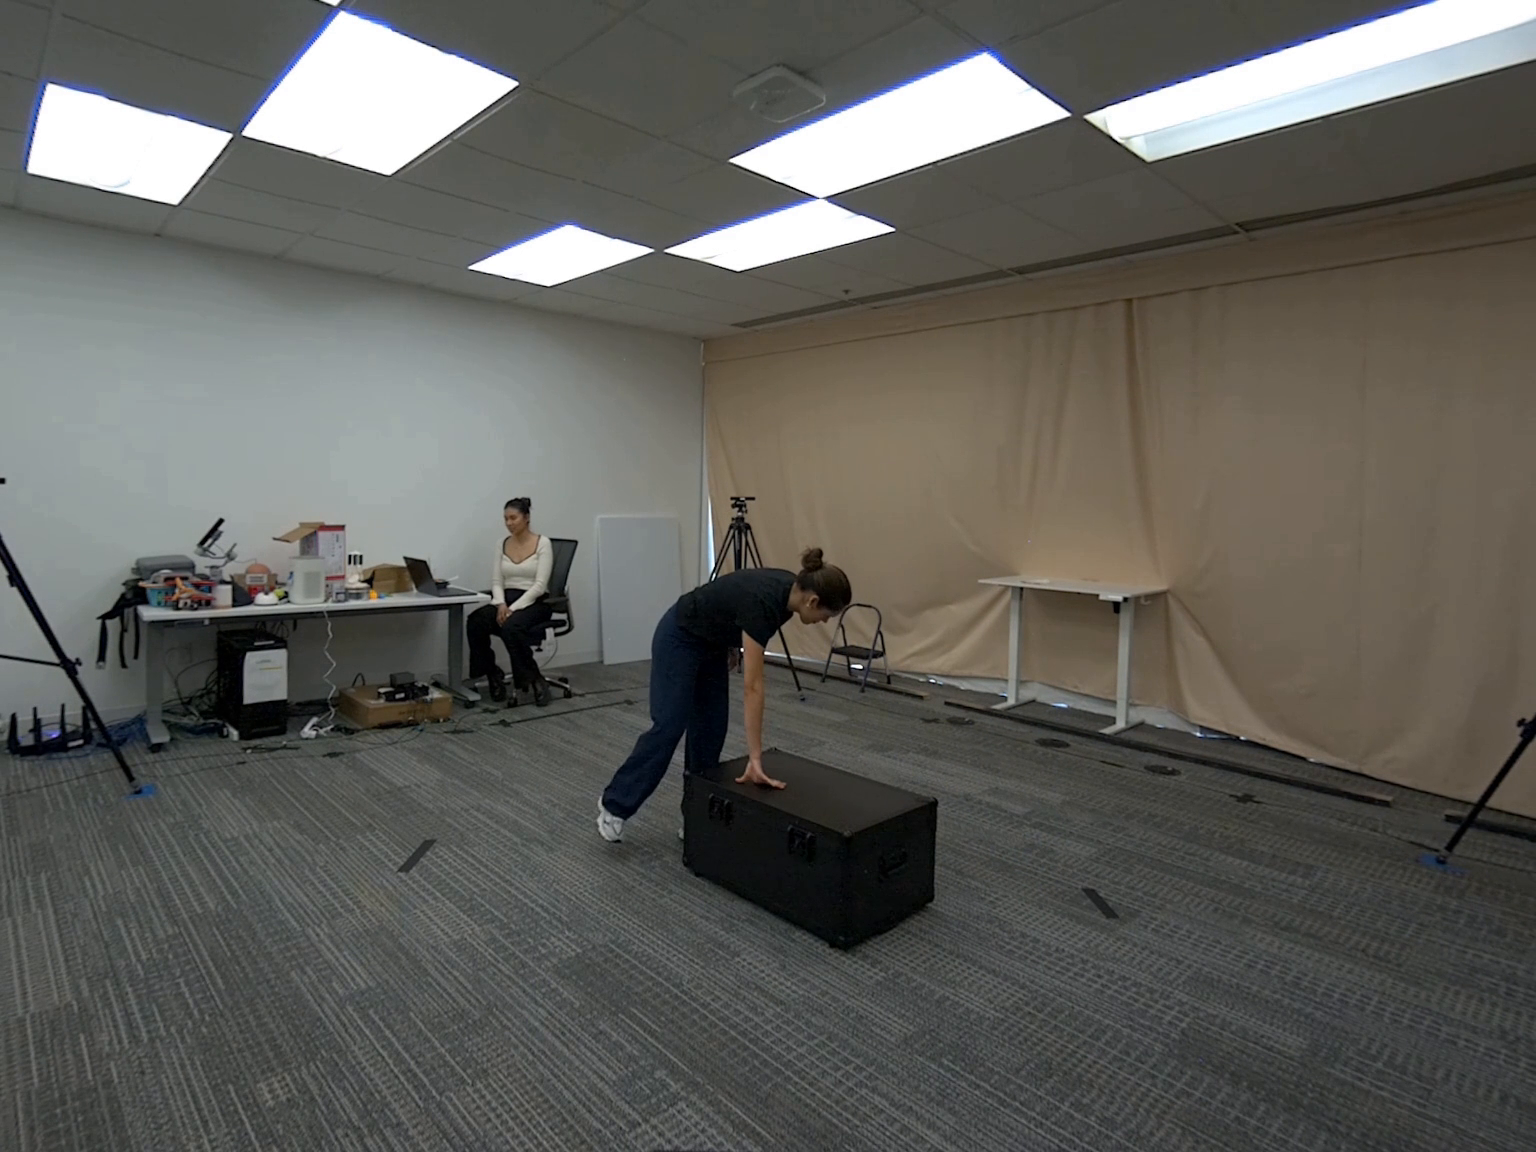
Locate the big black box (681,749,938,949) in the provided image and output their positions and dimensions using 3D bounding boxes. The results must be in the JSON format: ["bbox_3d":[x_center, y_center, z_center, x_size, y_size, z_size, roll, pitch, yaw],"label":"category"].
[{"bbox_3d":[0.103,0.916,3.012,0.509,0.395,0.883,-3,5,-44],"label":"big black box"}]
